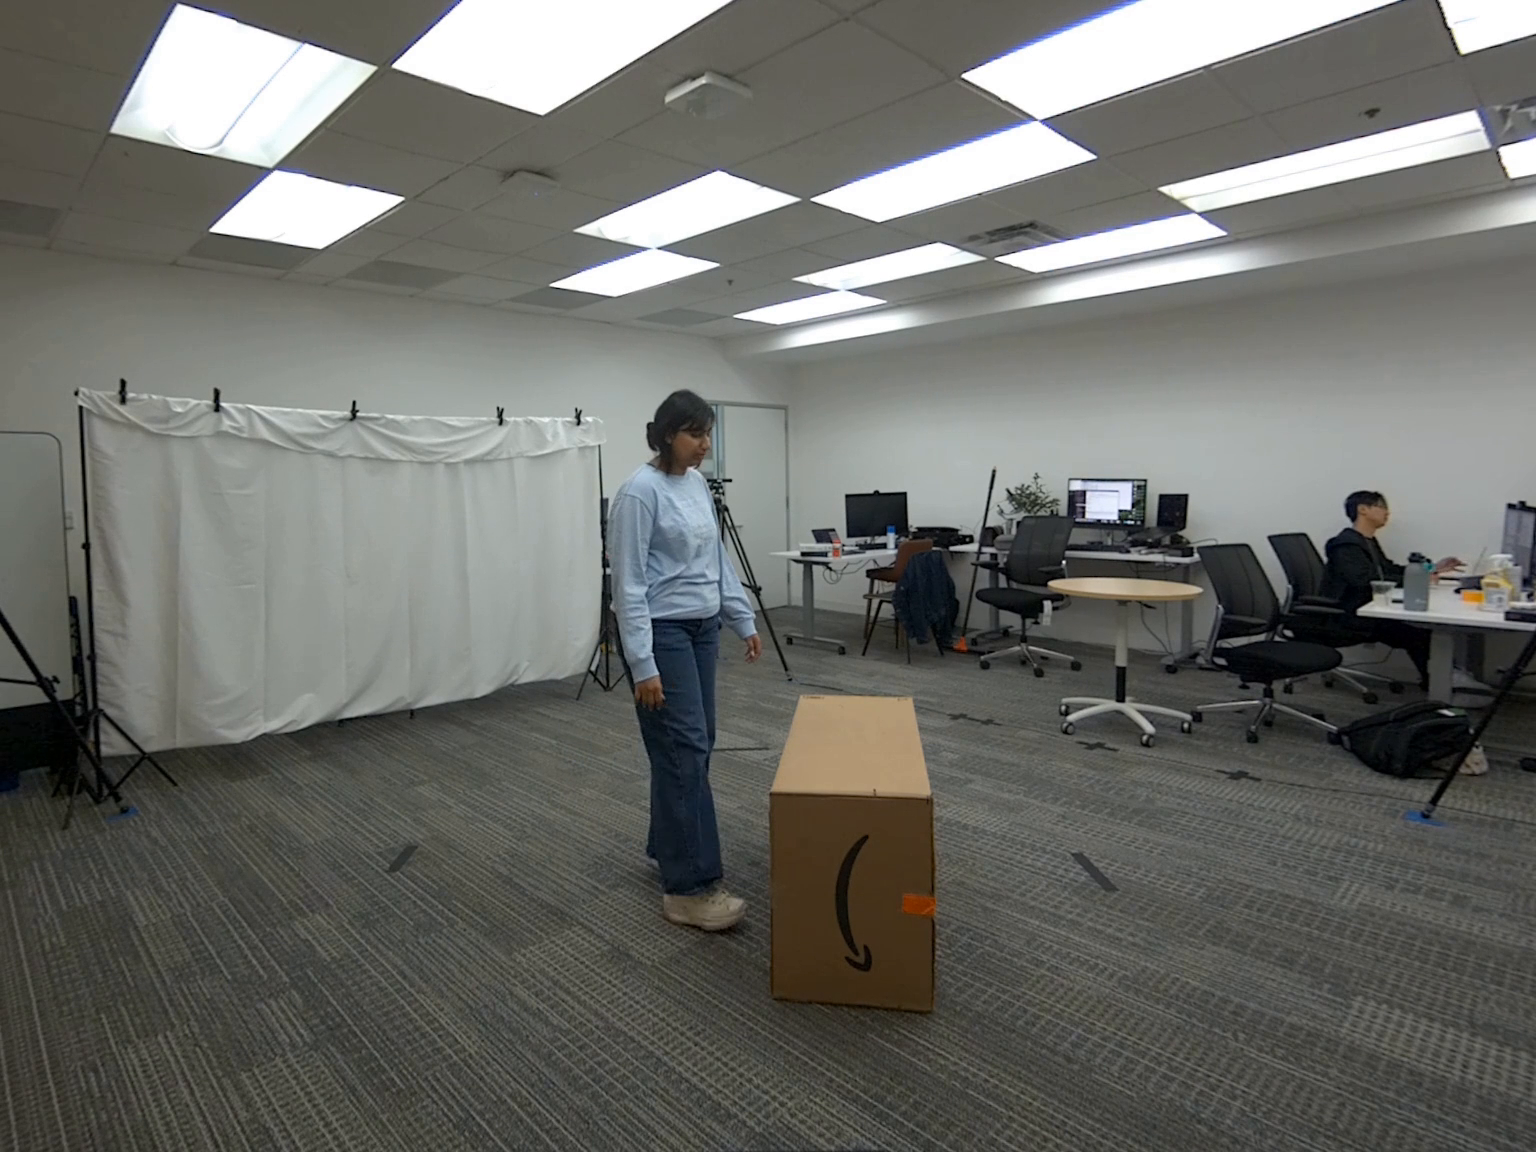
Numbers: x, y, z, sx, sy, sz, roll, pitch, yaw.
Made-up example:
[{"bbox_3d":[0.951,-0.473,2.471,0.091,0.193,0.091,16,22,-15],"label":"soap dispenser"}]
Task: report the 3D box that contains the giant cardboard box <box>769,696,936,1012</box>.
[{"bbox_3d":[0.281,0.791,2.734,0.430,0.575,1.022,0,6,7],"label":"giant cardboard box"}]
